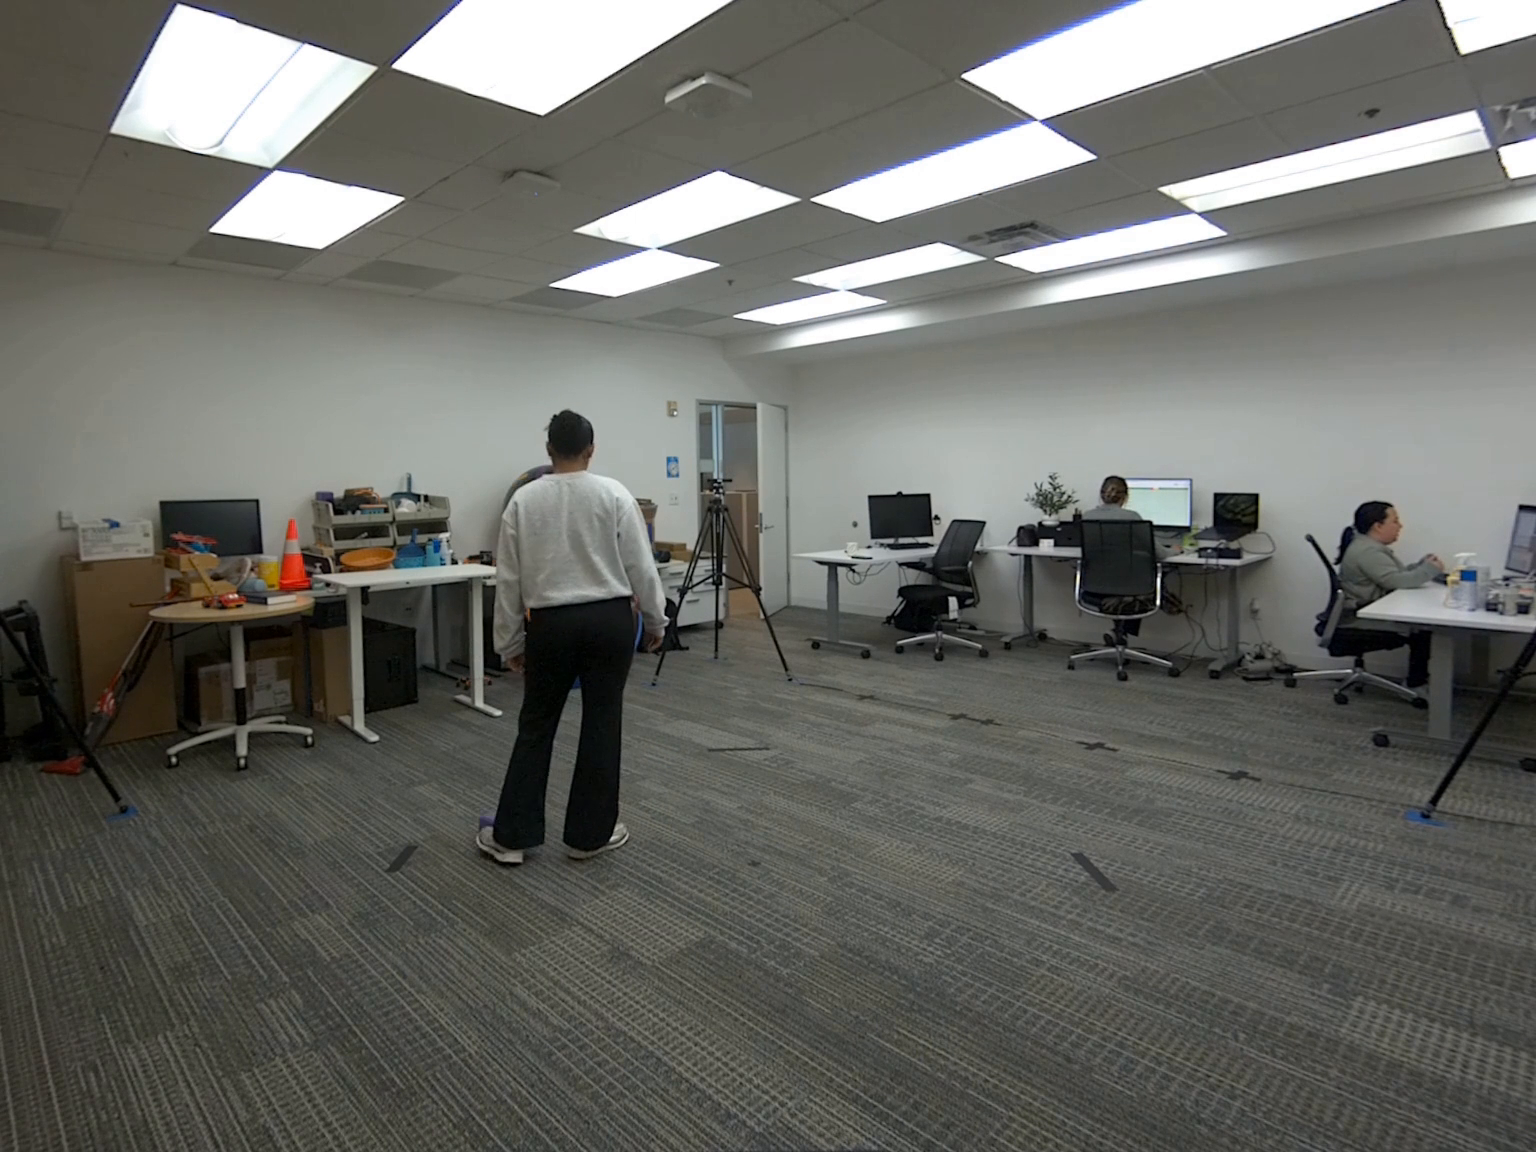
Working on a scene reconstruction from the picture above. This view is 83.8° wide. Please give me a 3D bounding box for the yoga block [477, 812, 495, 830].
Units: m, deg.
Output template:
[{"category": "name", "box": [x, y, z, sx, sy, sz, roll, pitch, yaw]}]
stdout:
[{"category": "yoga block", "box": [-0.980, 0.989, 3.387, 0.236, 0.076, 0.145, 3, 5, 34]}]
